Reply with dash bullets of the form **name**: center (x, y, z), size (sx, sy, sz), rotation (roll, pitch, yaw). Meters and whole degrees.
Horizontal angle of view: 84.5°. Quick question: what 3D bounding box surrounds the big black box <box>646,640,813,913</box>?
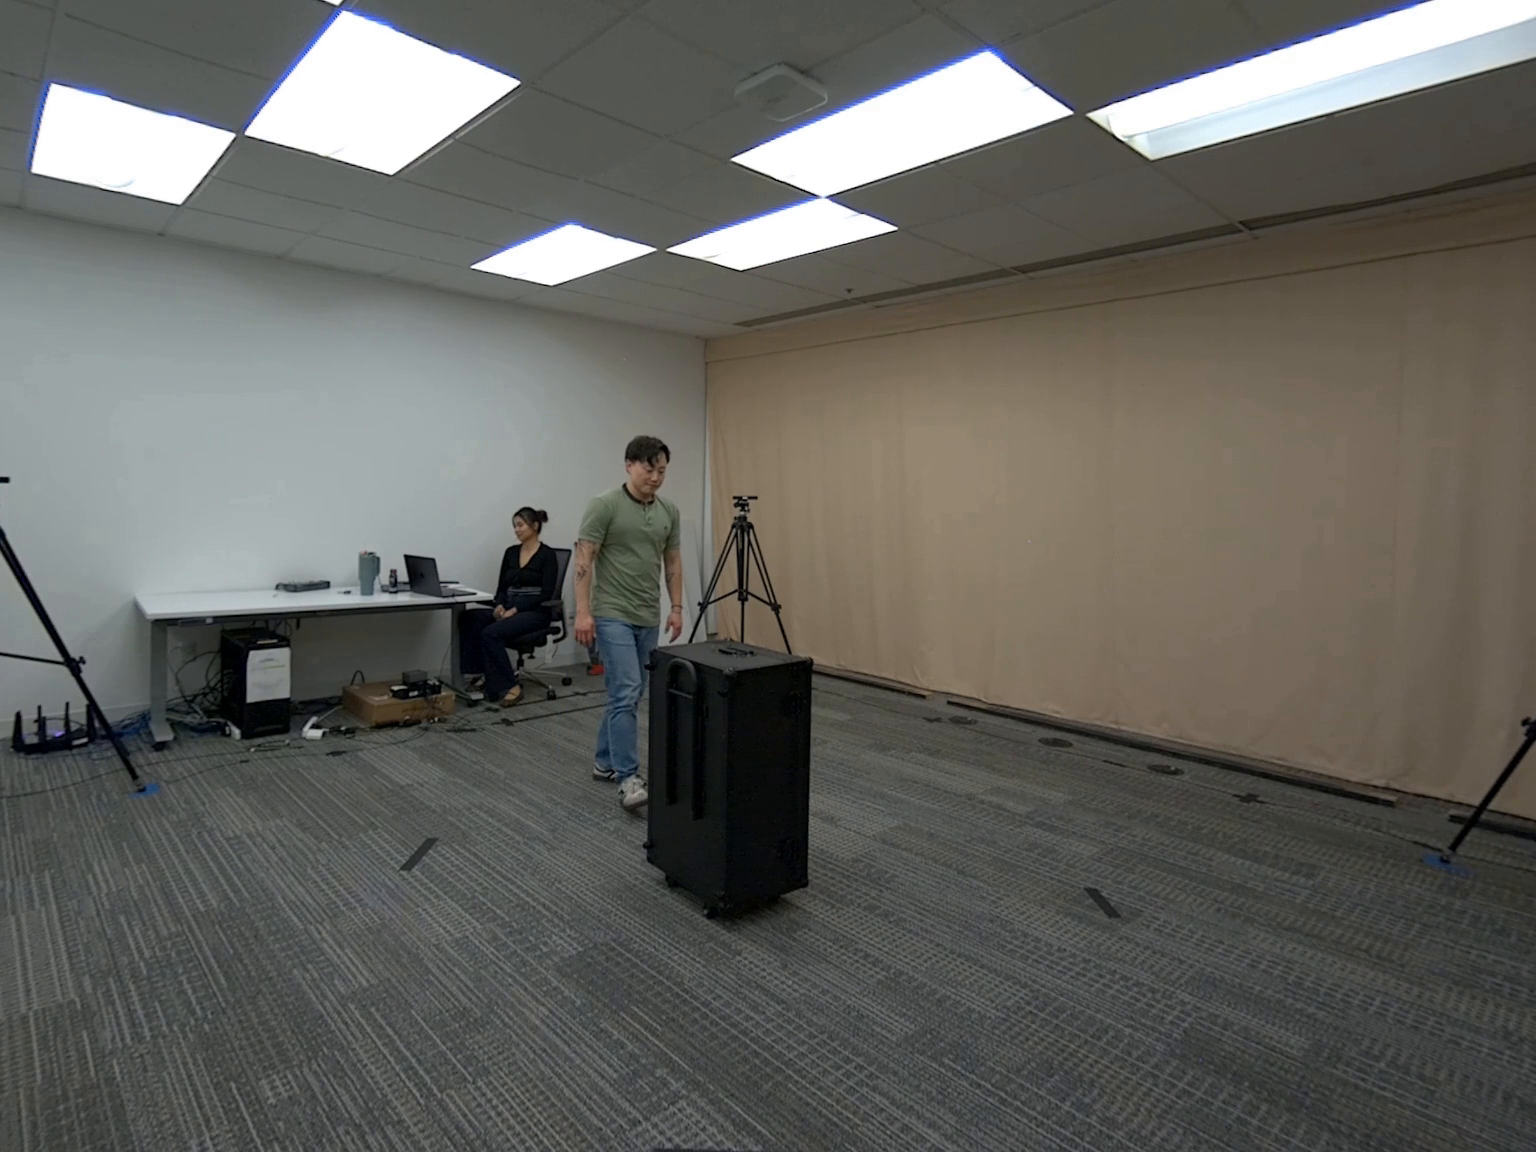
- **big black box**: center (-0.156, 0.694, 2.922), size (0.387, 0.859, 0.534), rotation (-2, 5, -39)
